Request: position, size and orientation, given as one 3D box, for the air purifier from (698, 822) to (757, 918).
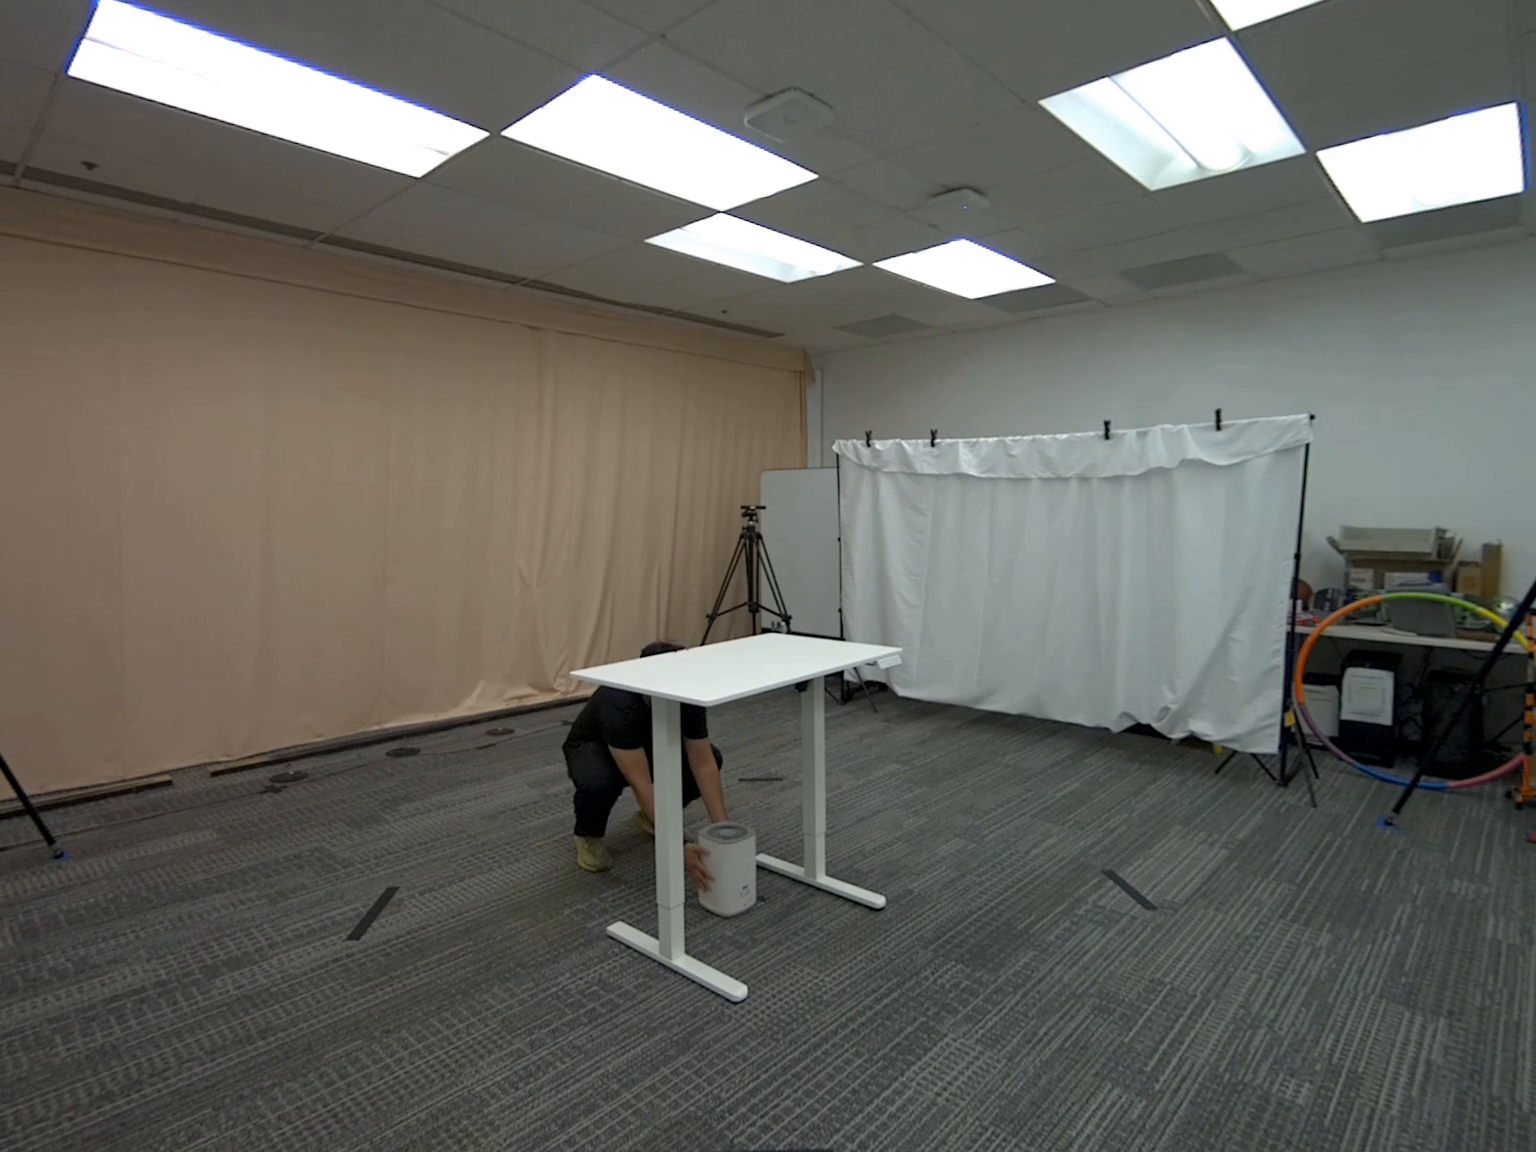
[{"bbox_3d":[-0.134,1.016,2.918,0.177,0.265,0.166,4,5,43],"label":"air purifier"}]
